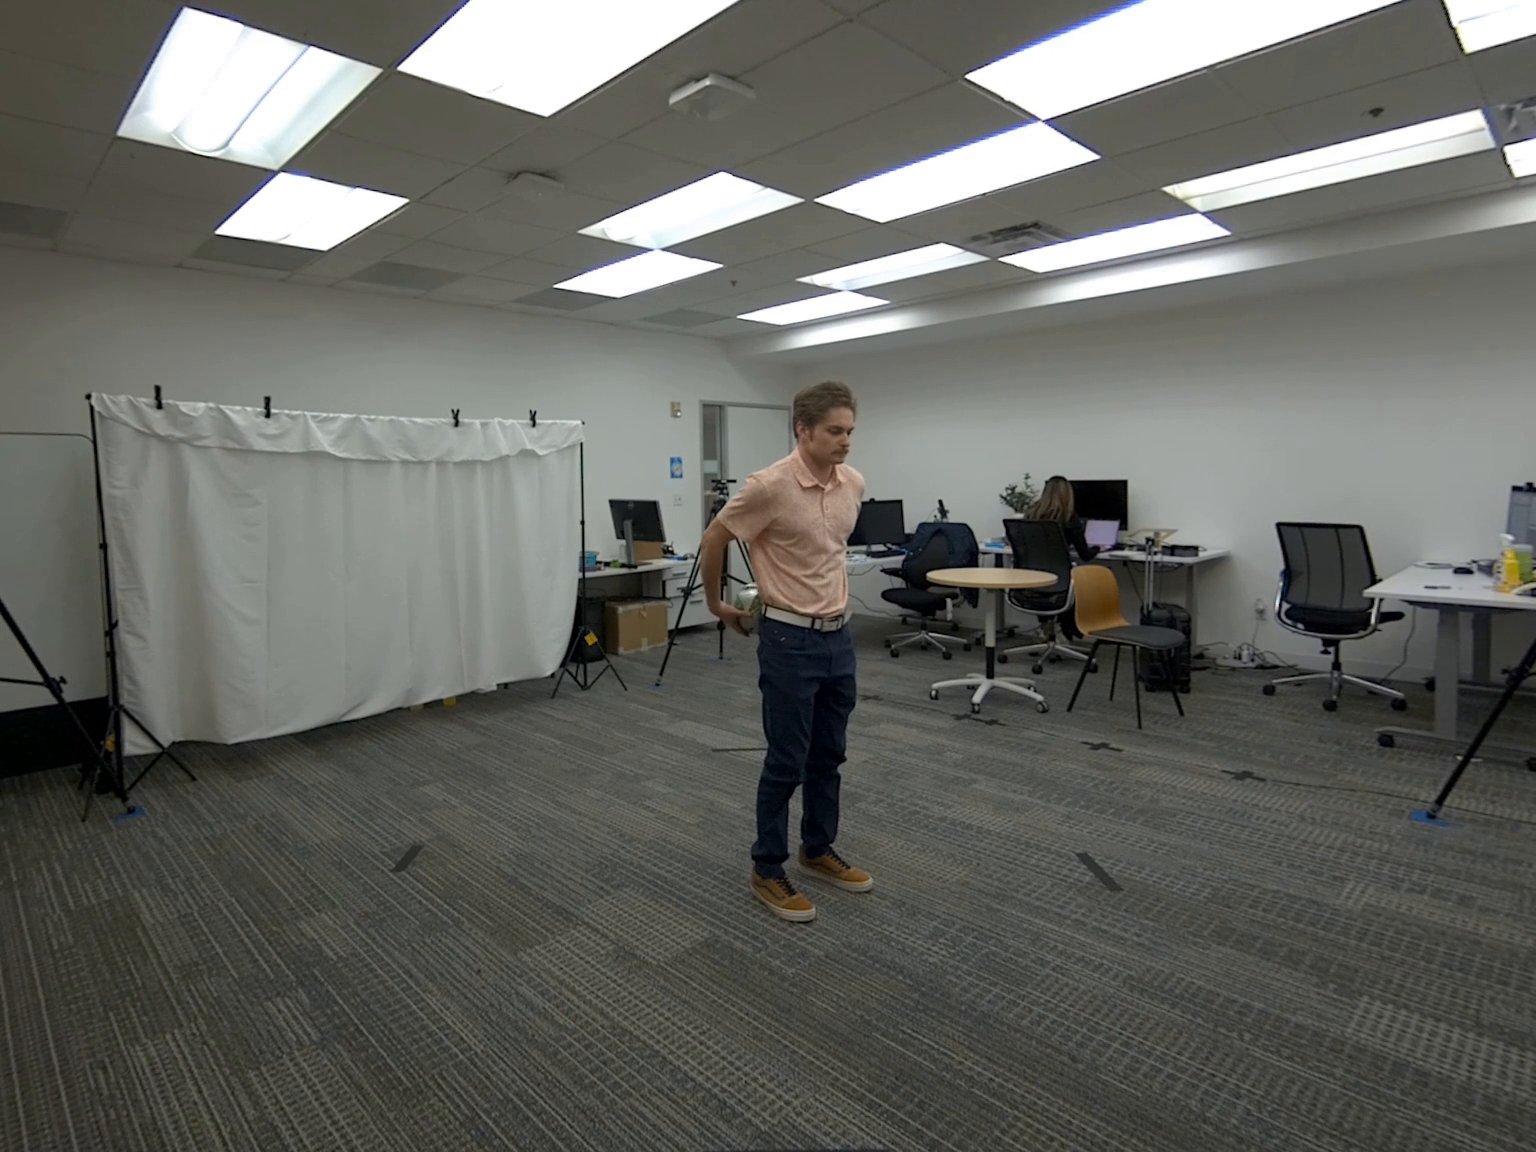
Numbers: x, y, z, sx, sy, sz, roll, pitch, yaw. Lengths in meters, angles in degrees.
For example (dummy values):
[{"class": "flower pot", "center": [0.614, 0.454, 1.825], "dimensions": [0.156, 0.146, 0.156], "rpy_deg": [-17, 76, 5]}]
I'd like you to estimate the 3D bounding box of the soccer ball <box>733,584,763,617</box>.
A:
[{"class": "soccer ball", "center": [-0.031, 0.115, 3.034], "dimensions": [0.187, 0.187, 0.188], "rpy_deg": [-1, 5, -2]}]
